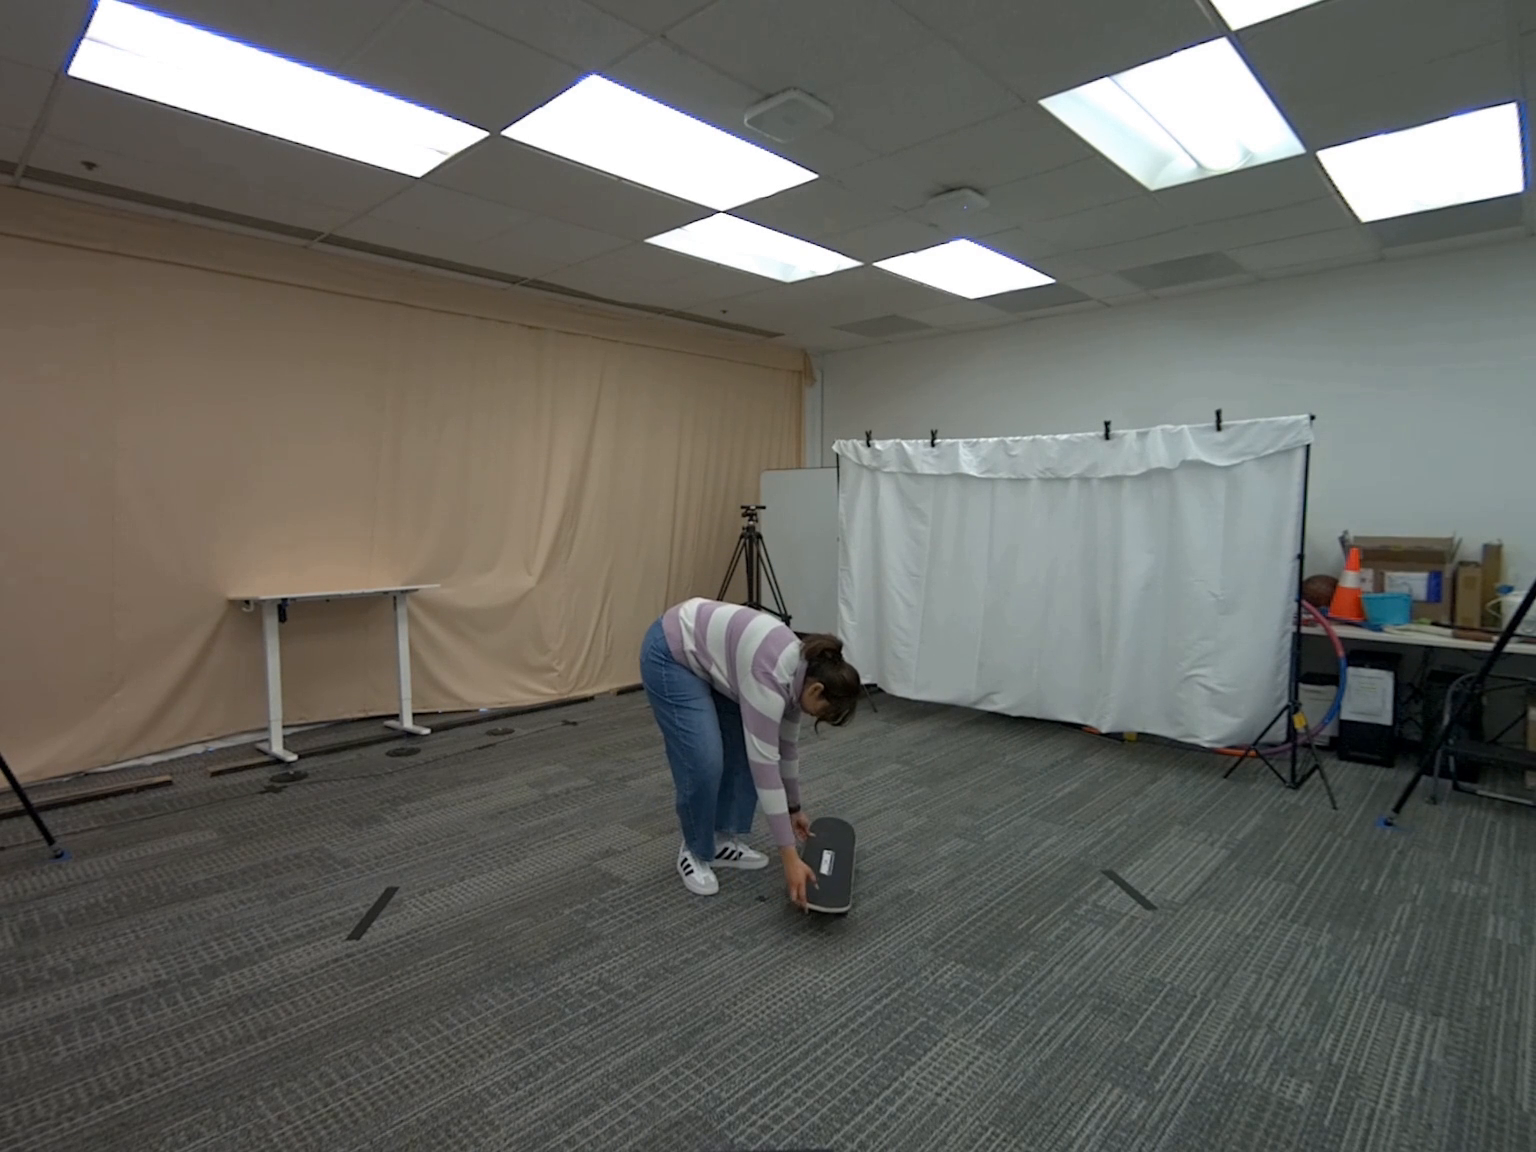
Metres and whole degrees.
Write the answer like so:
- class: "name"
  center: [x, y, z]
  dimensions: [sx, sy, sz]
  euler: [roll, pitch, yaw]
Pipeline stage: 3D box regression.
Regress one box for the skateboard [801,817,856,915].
- class: "skateboard"
  center: [0.221, 1.071, 3.053]
  dimensions: [0.196, 0.110, 0.779]
  euler: [5, 6, 8]
